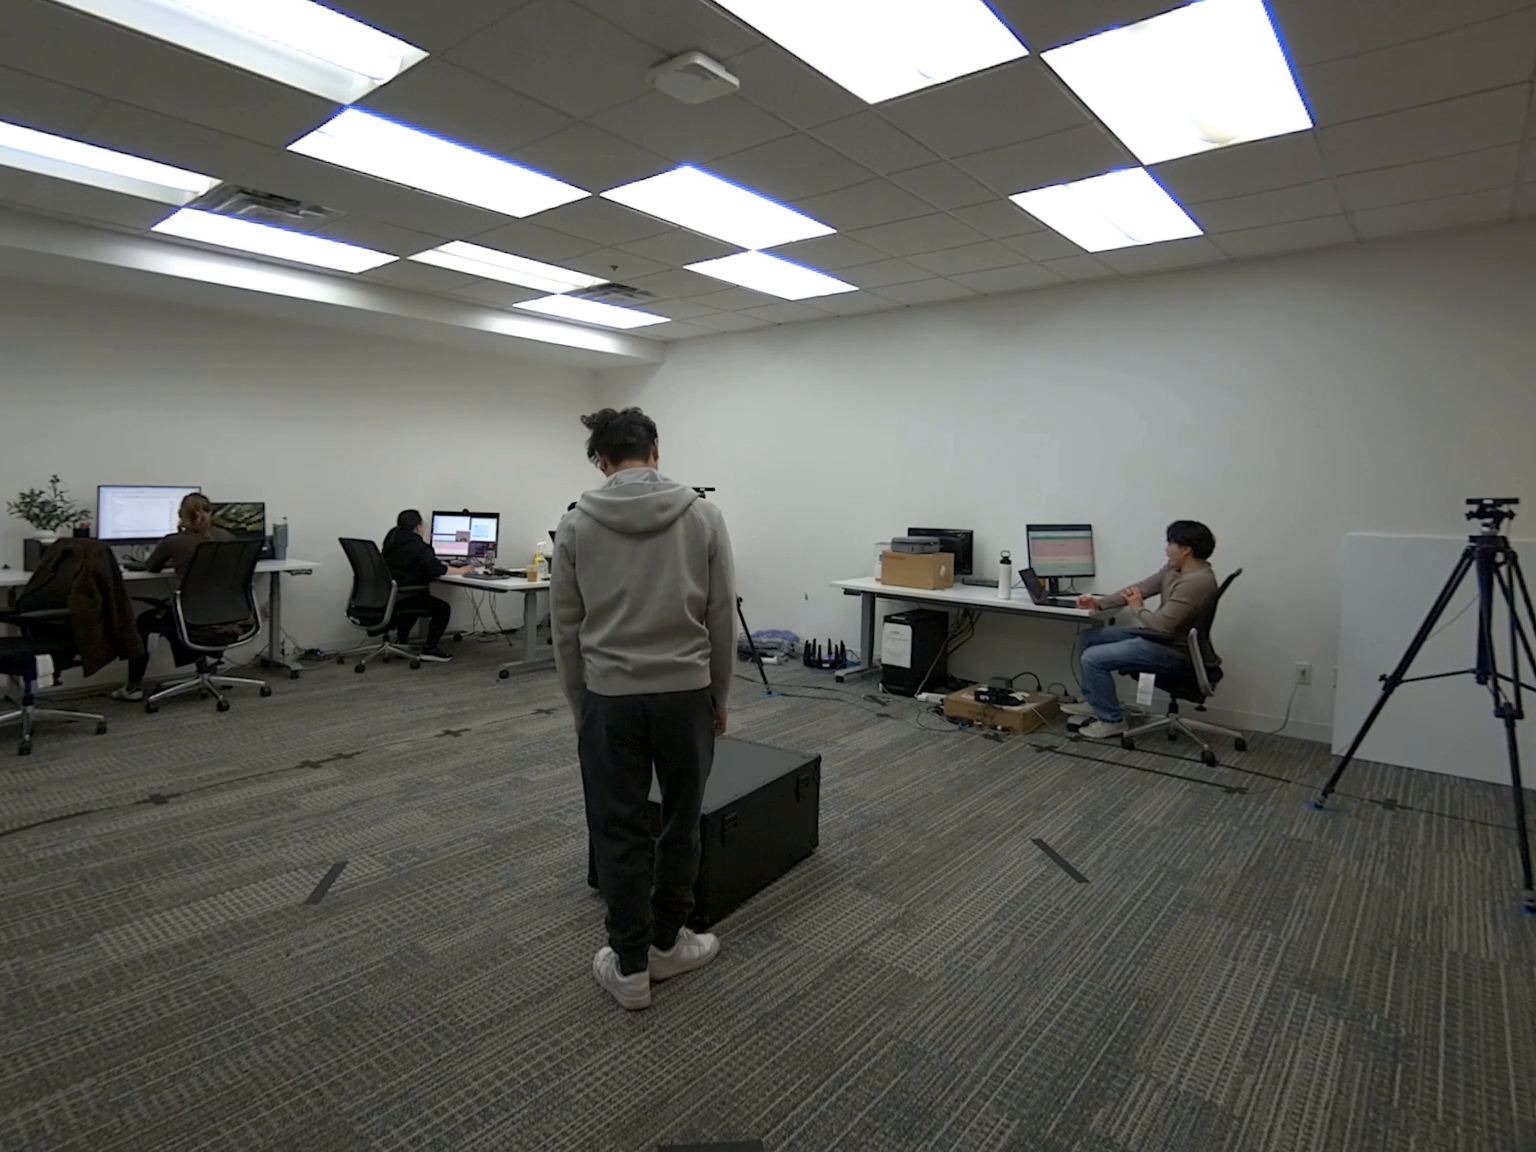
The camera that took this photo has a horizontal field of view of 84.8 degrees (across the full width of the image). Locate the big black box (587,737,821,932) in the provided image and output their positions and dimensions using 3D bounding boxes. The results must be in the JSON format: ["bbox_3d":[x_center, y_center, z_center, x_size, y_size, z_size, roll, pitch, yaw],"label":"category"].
[{"bbox_3d":[-0.194,0.878,3.104,0.537,0.394,0.839,4,6,32],"label":"big black box"}]
